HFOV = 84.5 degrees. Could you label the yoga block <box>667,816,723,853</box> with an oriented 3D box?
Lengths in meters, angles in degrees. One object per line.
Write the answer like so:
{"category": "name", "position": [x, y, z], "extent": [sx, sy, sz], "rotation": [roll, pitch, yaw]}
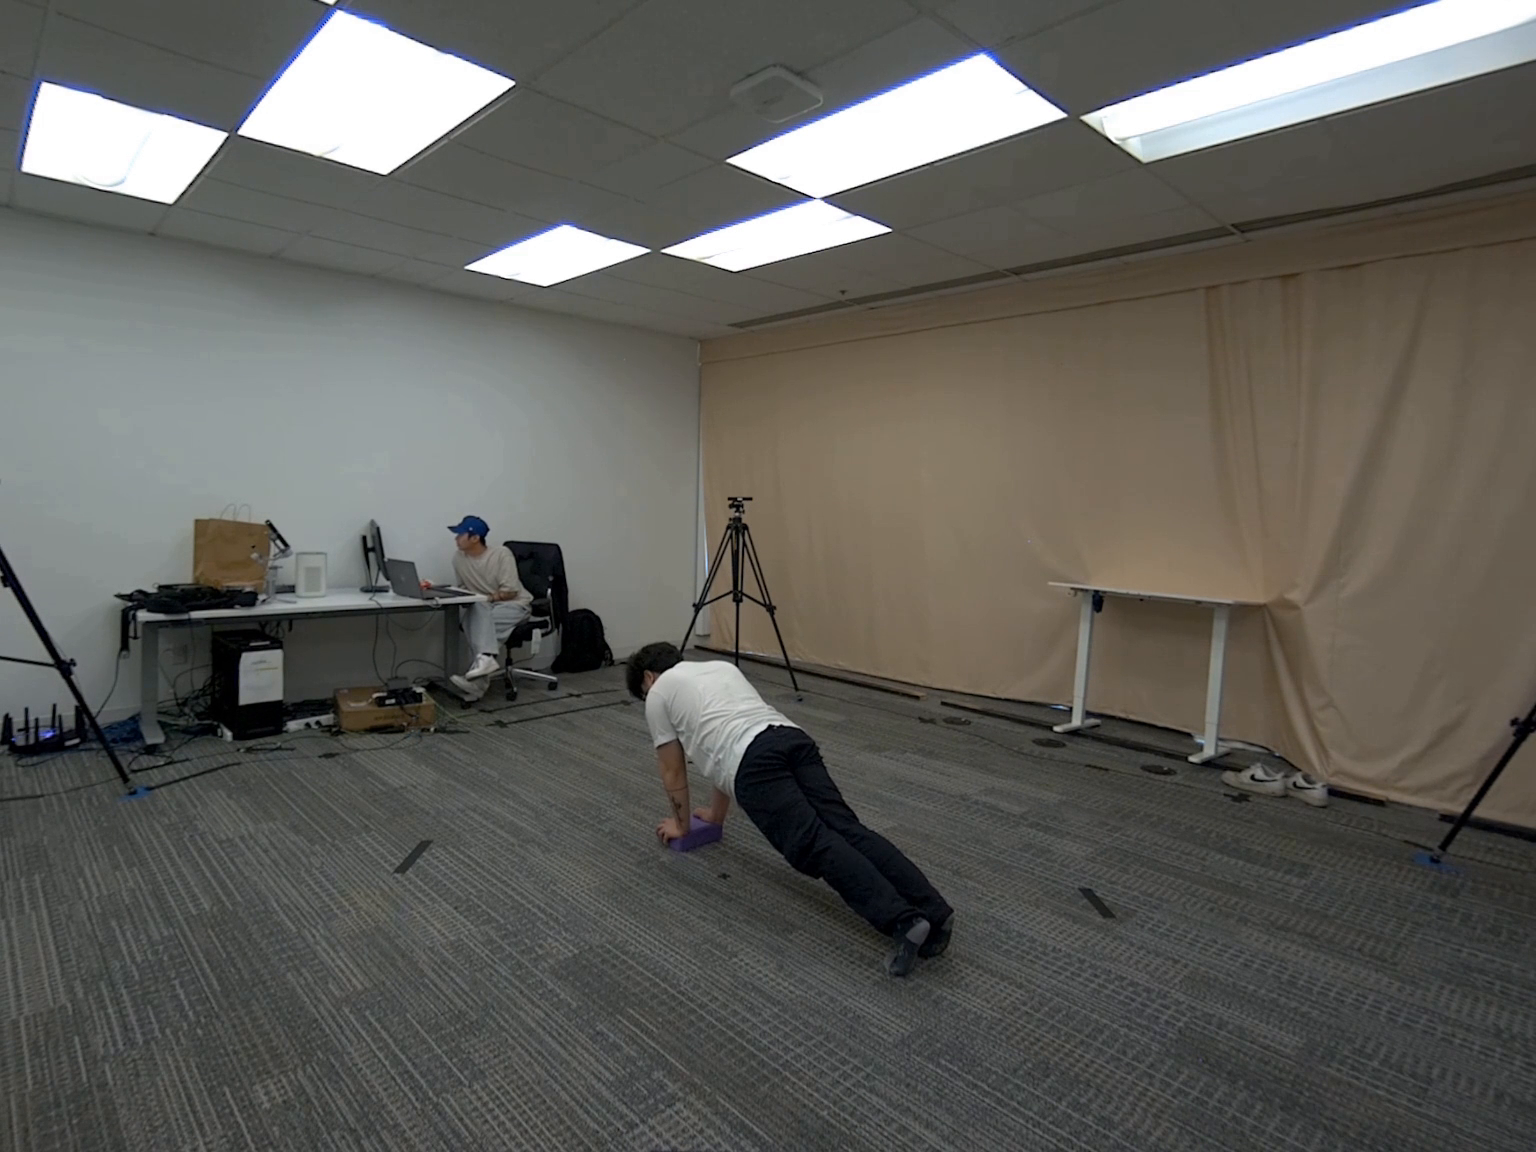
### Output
{"category": "yoga block", "position": [-0.323, 1.041, 3.423], "extent": [0.224, 0.076, 0.153], "rotation": [-4, 6, -45]}
